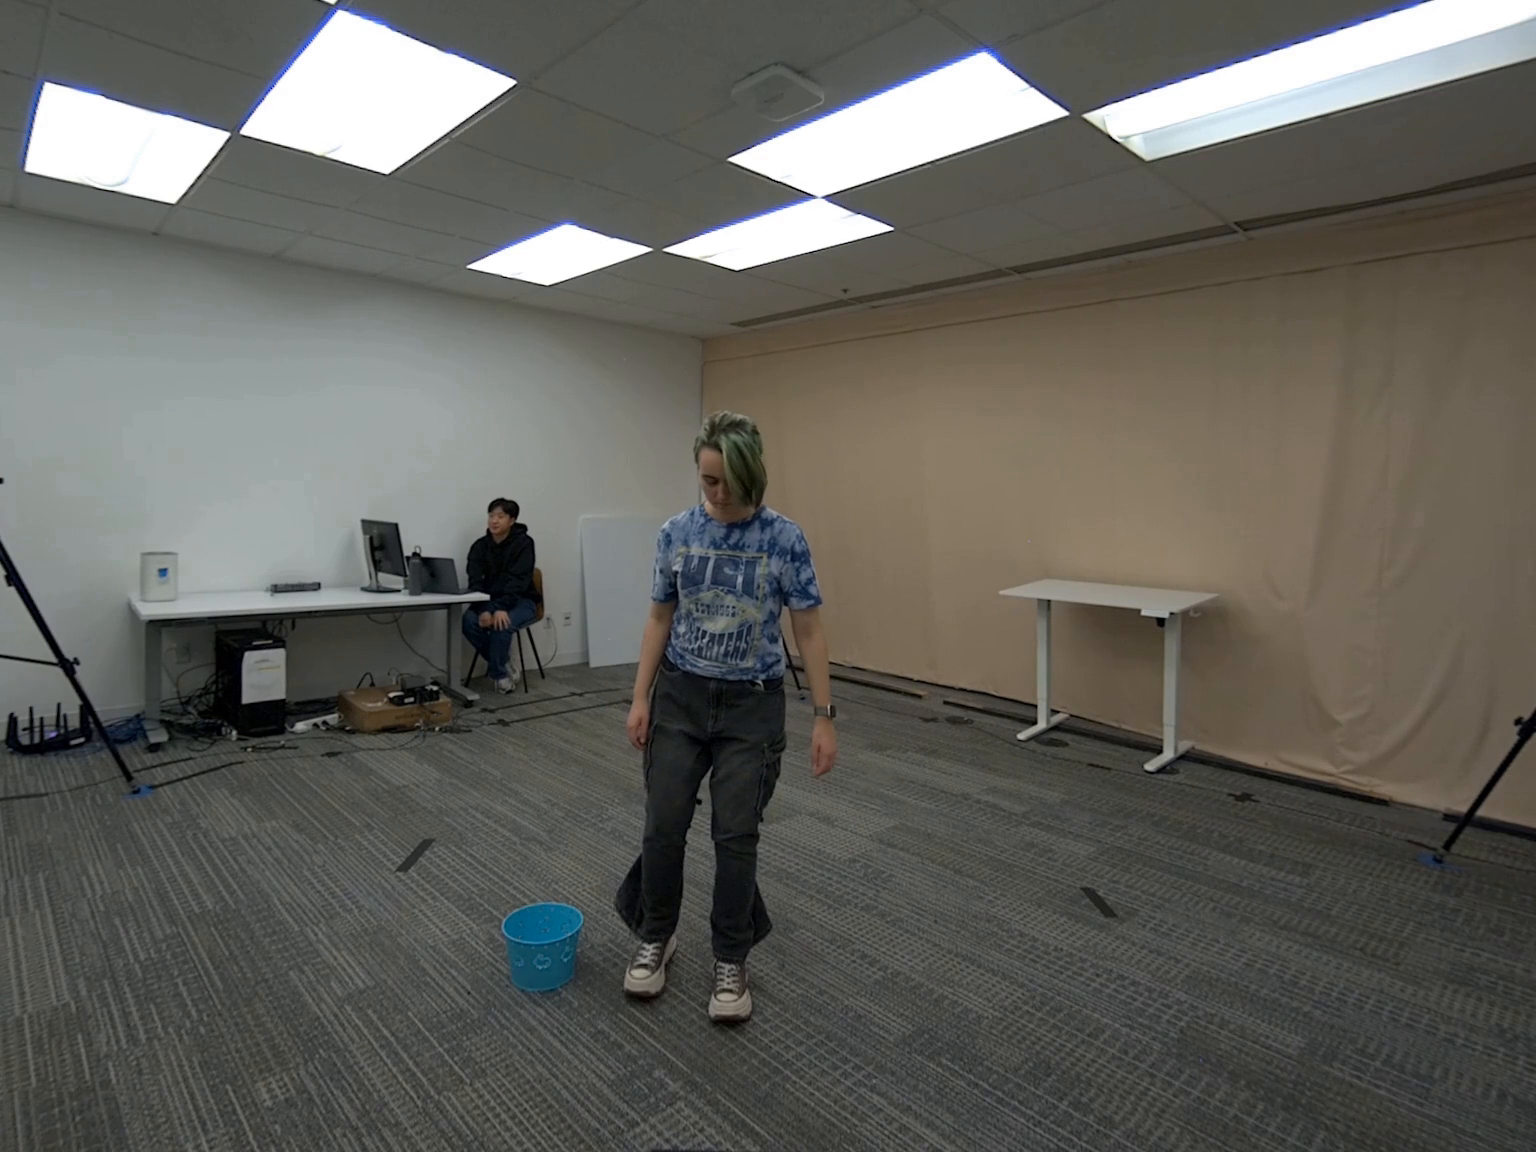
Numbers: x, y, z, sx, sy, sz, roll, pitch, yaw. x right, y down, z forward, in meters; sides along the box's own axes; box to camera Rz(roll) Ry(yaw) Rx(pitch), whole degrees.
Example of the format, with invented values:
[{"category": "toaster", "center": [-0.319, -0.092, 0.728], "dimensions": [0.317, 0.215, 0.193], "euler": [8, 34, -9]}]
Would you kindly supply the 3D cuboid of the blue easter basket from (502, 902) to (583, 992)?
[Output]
[{"category": "blue easter basket", "center": [-0.656, 1.073, 2.437], "dimensions": [0.243, 0.155, 0.244], "euler": [1, 5, -1]}]
